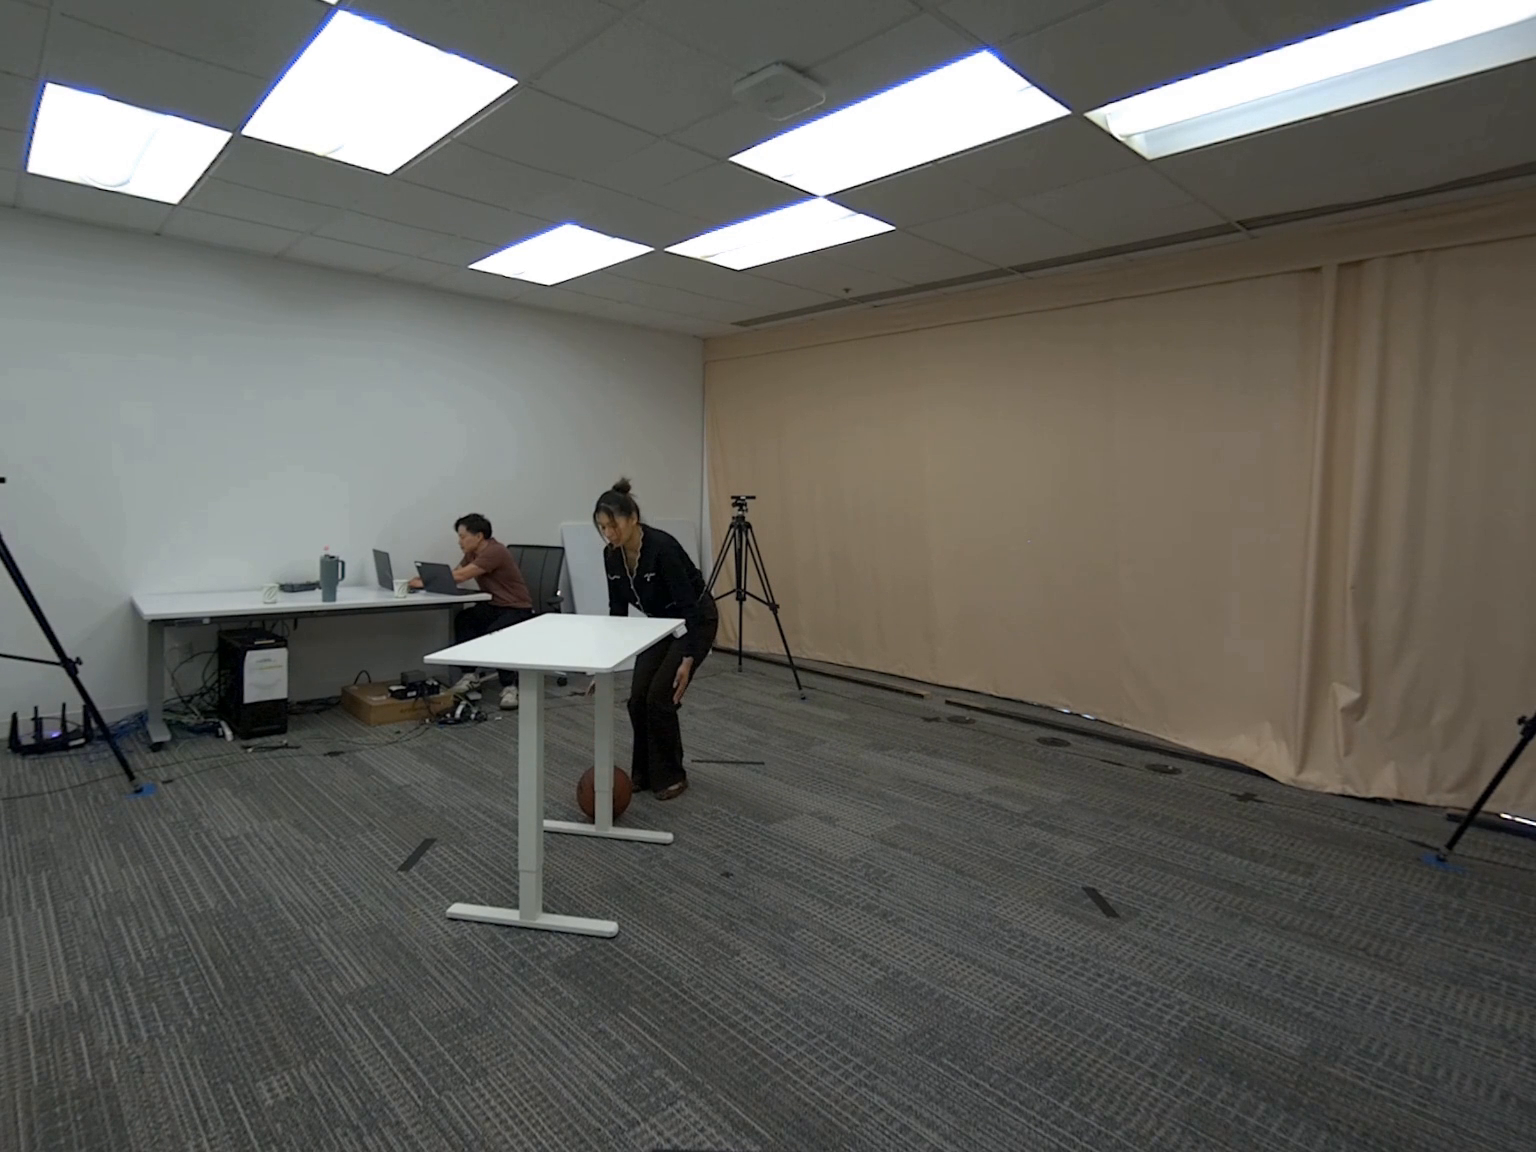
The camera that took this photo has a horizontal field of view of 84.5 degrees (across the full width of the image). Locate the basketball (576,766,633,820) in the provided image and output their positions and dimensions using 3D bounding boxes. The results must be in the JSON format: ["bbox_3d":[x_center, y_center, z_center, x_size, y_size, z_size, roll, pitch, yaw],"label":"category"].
[{"bbox_3d":[-0.721,0.930,3.616,0.236,0.235,0.237,1,4,-1],"label":"basketball"}]
